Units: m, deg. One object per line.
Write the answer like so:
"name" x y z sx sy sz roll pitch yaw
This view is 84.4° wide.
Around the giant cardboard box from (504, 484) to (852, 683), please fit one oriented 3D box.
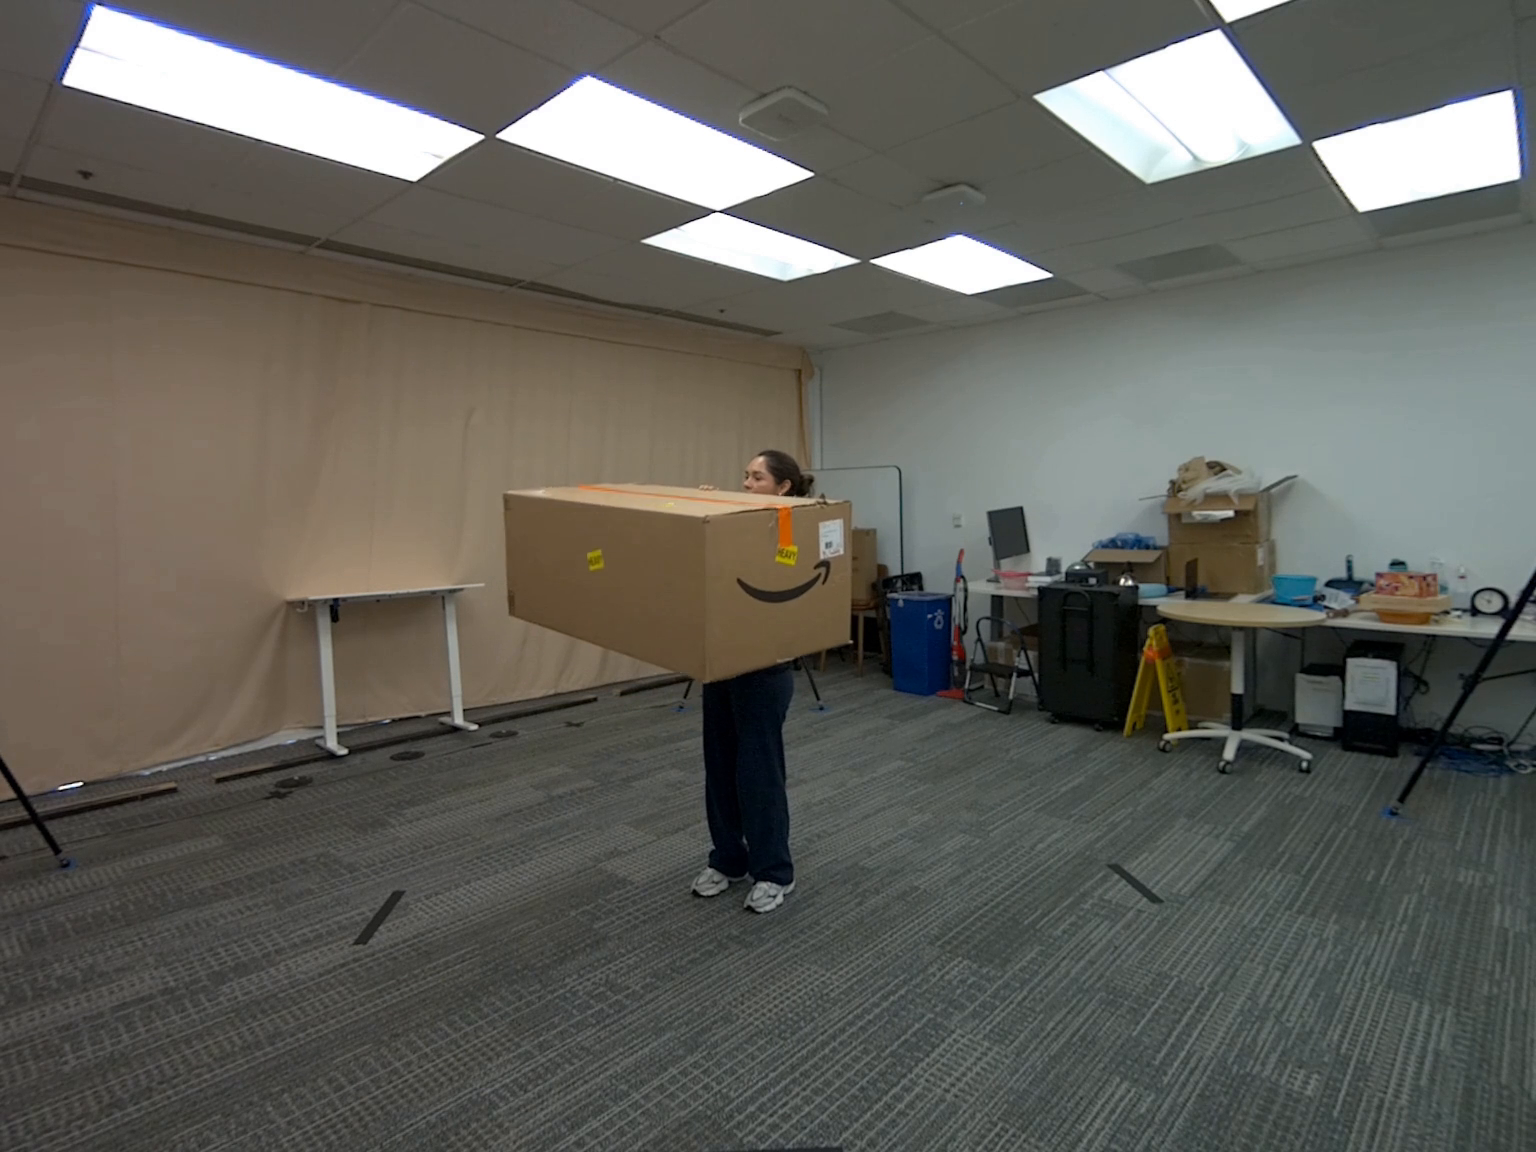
"giant cardboard box" -0.298 -0.039 2.640 0.561 0.423 1.062 -10 14 -44
